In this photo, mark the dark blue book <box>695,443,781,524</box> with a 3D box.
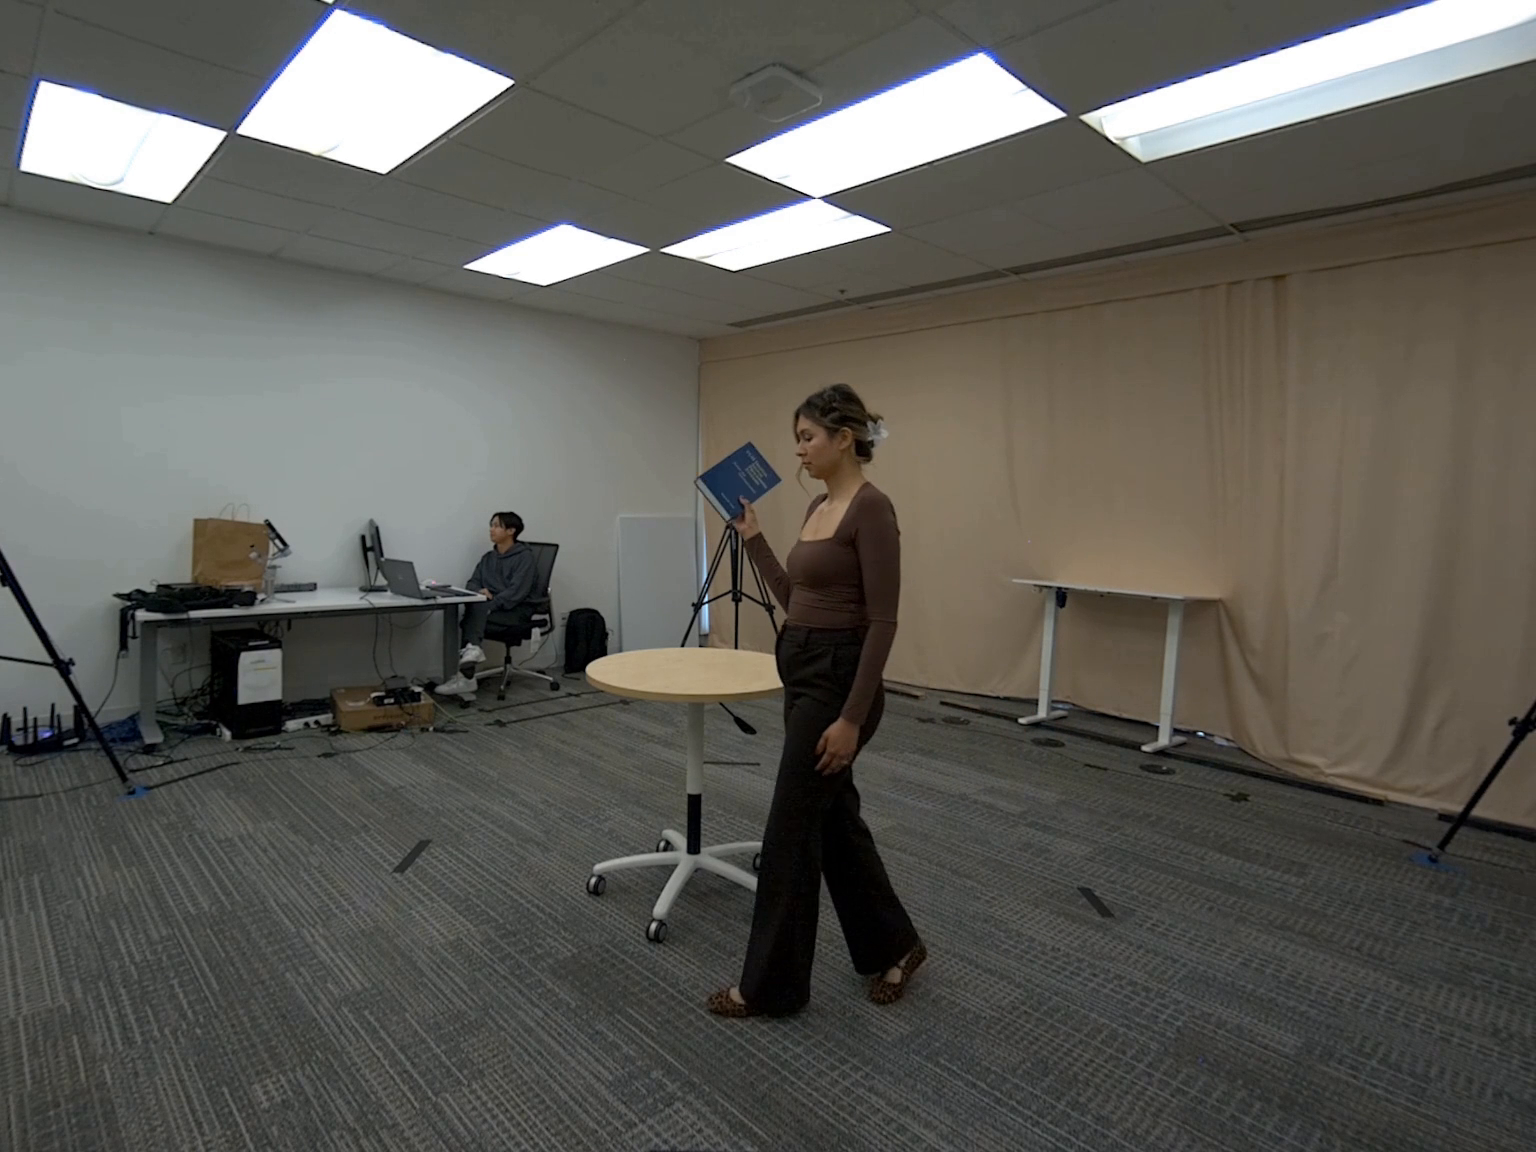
[{"bbox_3d":[-0.092,-0.293,2.598,0.244,0.163,0.045,-40,0,-35],"label":"dark blue book"}]
